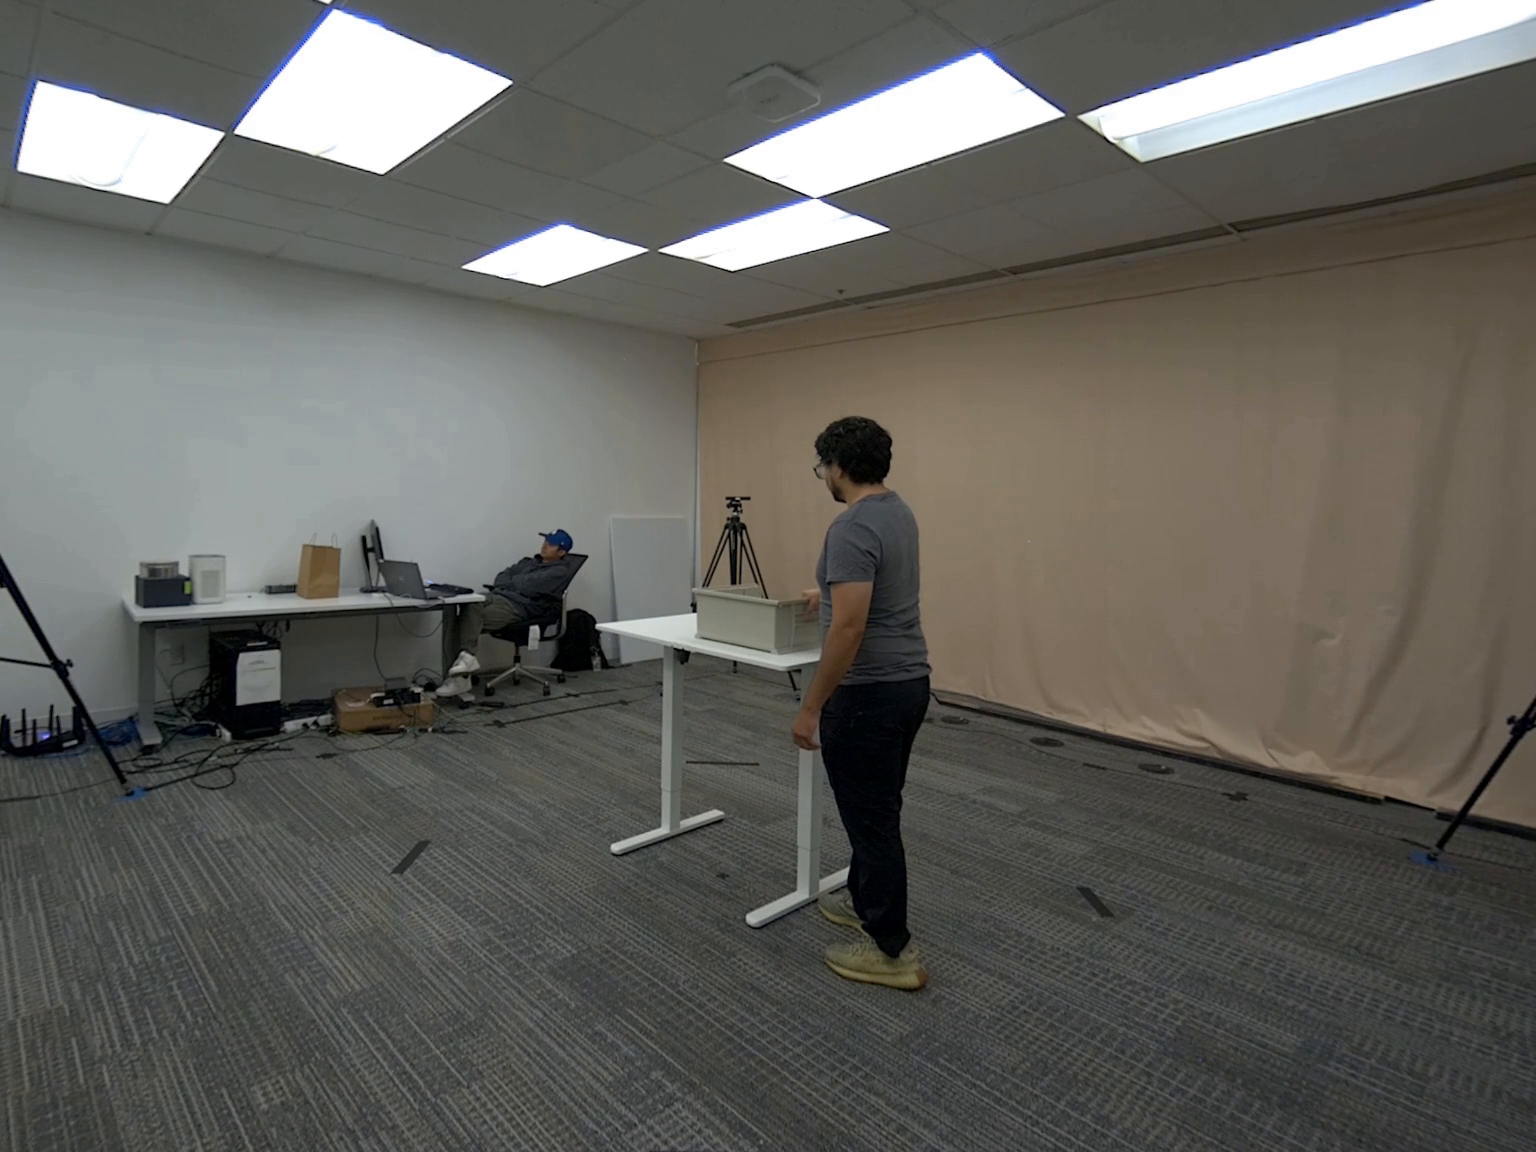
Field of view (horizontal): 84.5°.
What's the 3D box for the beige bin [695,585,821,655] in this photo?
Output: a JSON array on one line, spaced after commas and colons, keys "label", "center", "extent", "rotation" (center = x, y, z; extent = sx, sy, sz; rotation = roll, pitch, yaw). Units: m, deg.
[{"label": "beige bin", "center": [-0.001, 0.144, 3.026], "extent": [0.433, 0.188, 0.369], "rotation": [7, 9, 44]}]
